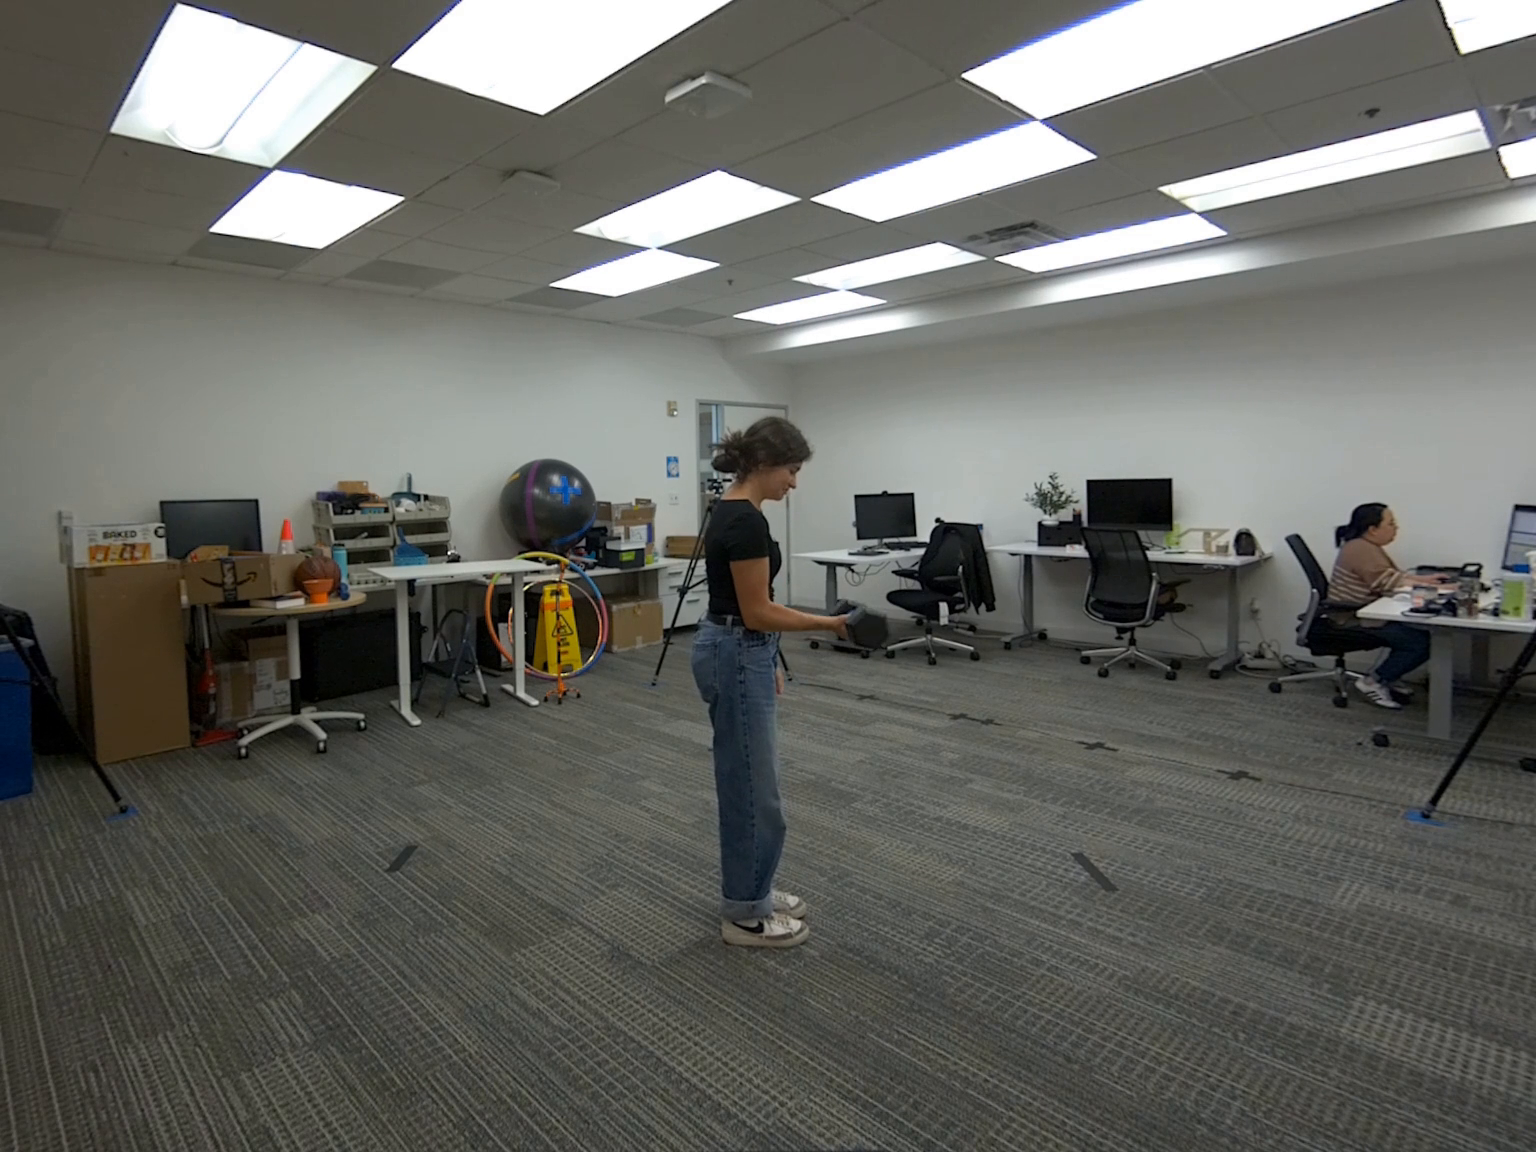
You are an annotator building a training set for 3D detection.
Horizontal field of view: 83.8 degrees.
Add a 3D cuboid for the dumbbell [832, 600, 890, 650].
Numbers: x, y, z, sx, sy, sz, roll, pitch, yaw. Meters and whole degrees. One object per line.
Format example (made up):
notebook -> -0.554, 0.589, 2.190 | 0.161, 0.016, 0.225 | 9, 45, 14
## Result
dumbbell -> 0.255, 0.130, 2.489 | 0.122, 0.108, 0.296 | 14, 2, -9
